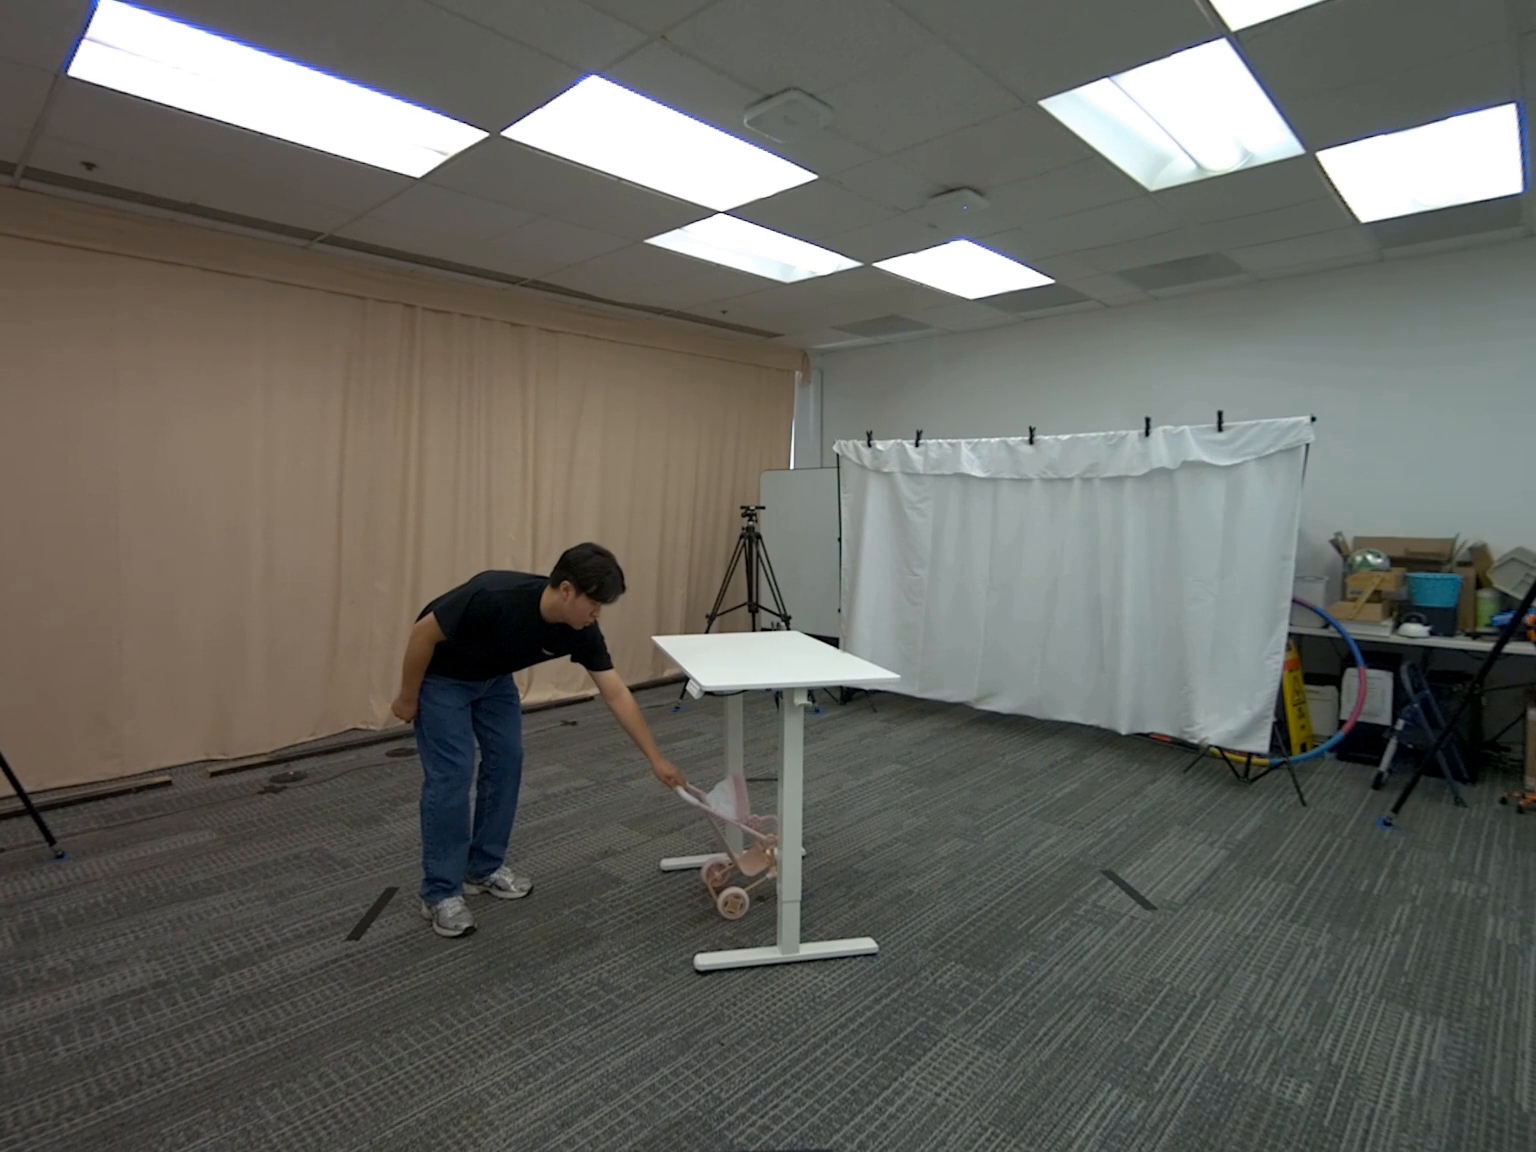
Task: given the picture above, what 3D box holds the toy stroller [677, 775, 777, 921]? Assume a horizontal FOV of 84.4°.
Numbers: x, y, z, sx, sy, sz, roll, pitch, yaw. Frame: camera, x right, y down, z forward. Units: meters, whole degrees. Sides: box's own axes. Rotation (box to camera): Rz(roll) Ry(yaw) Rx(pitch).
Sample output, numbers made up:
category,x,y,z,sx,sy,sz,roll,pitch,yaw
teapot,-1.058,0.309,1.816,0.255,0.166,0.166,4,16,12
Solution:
category,x,y,z,sx,sy,sz,roll,pitch,yaw
toy stroller,-0.090,0.923,2.952,0.339,0.532,0.285,-16,6,-9
